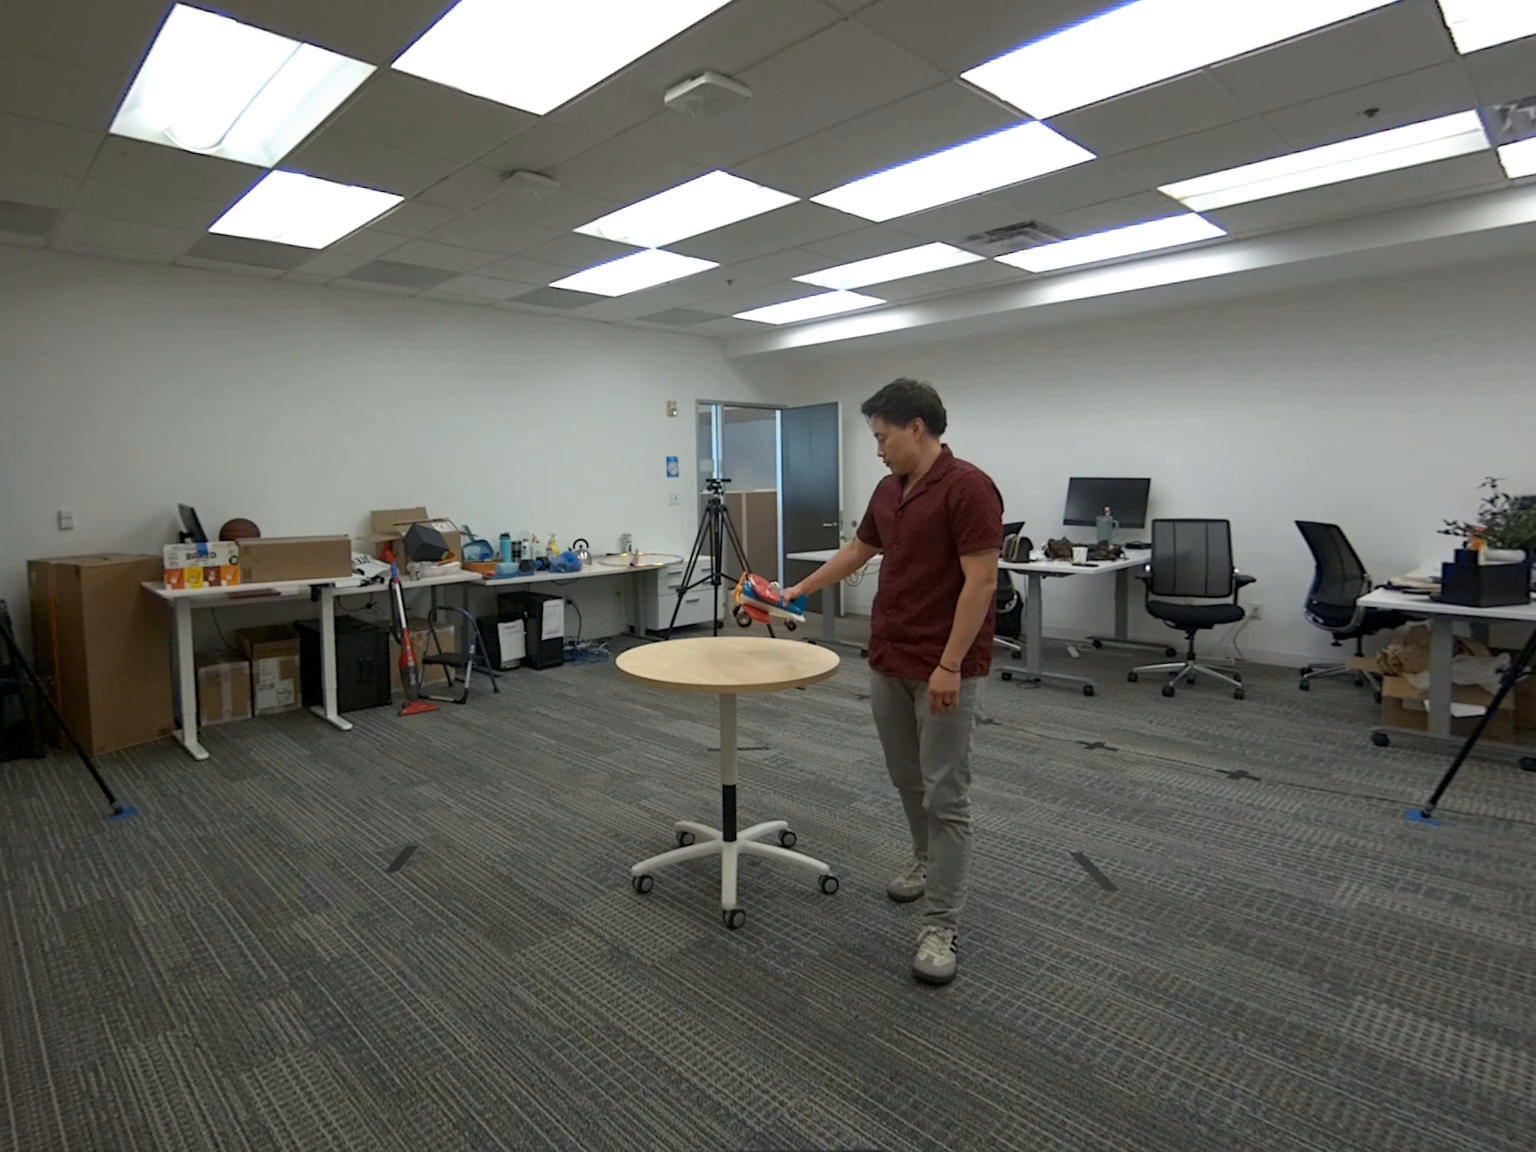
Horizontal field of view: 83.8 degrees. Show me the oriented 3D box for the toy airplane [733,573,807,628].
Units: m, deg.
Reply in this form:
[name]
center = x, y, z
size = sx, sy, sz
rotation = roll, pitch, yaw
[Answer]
[toy airplane]
center = 0.003, 0.099, 2.980
size = 0.252, 0.155, 0.261
rotation = 0, 18, -38
